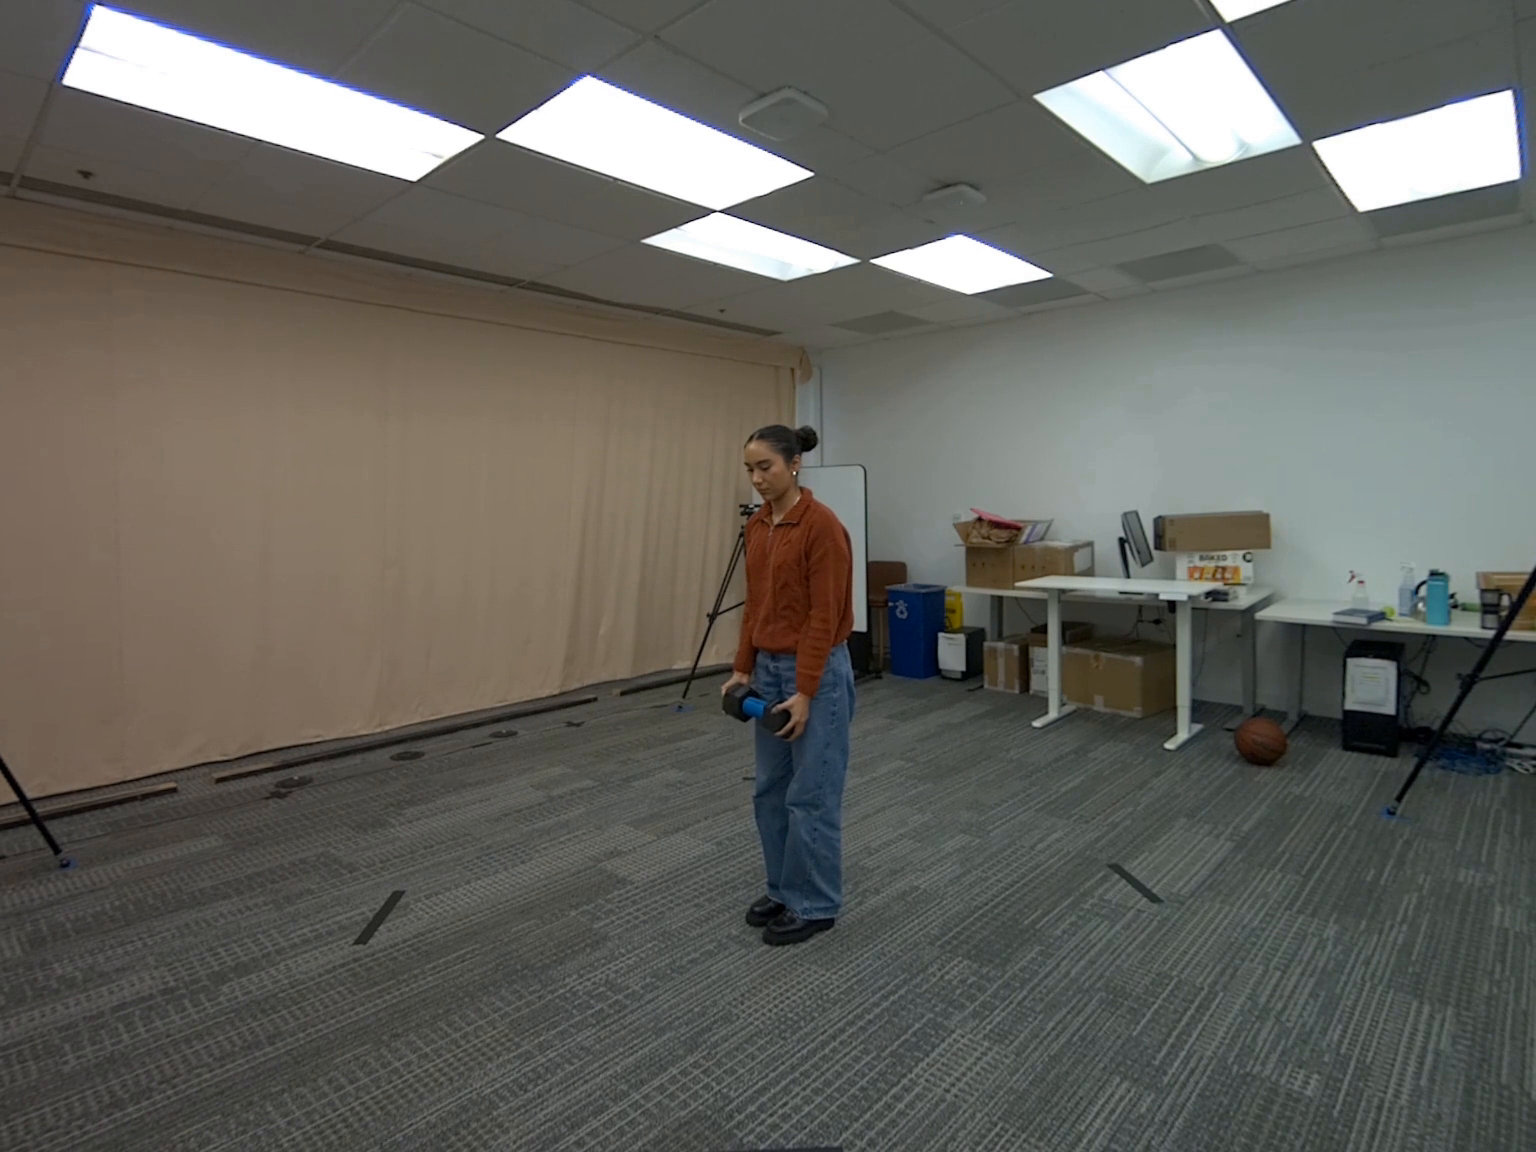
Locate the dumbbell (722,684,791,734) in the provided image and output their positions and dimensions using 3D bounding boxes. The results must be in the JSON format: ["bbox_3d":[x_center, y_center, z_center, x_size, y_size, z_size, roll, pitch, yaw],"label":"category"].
[{"bbox_3d":[-0.010,0.424,2.691,0.105,0.123,0.303,-2,5,-34],"label":"dumbbell"}]
